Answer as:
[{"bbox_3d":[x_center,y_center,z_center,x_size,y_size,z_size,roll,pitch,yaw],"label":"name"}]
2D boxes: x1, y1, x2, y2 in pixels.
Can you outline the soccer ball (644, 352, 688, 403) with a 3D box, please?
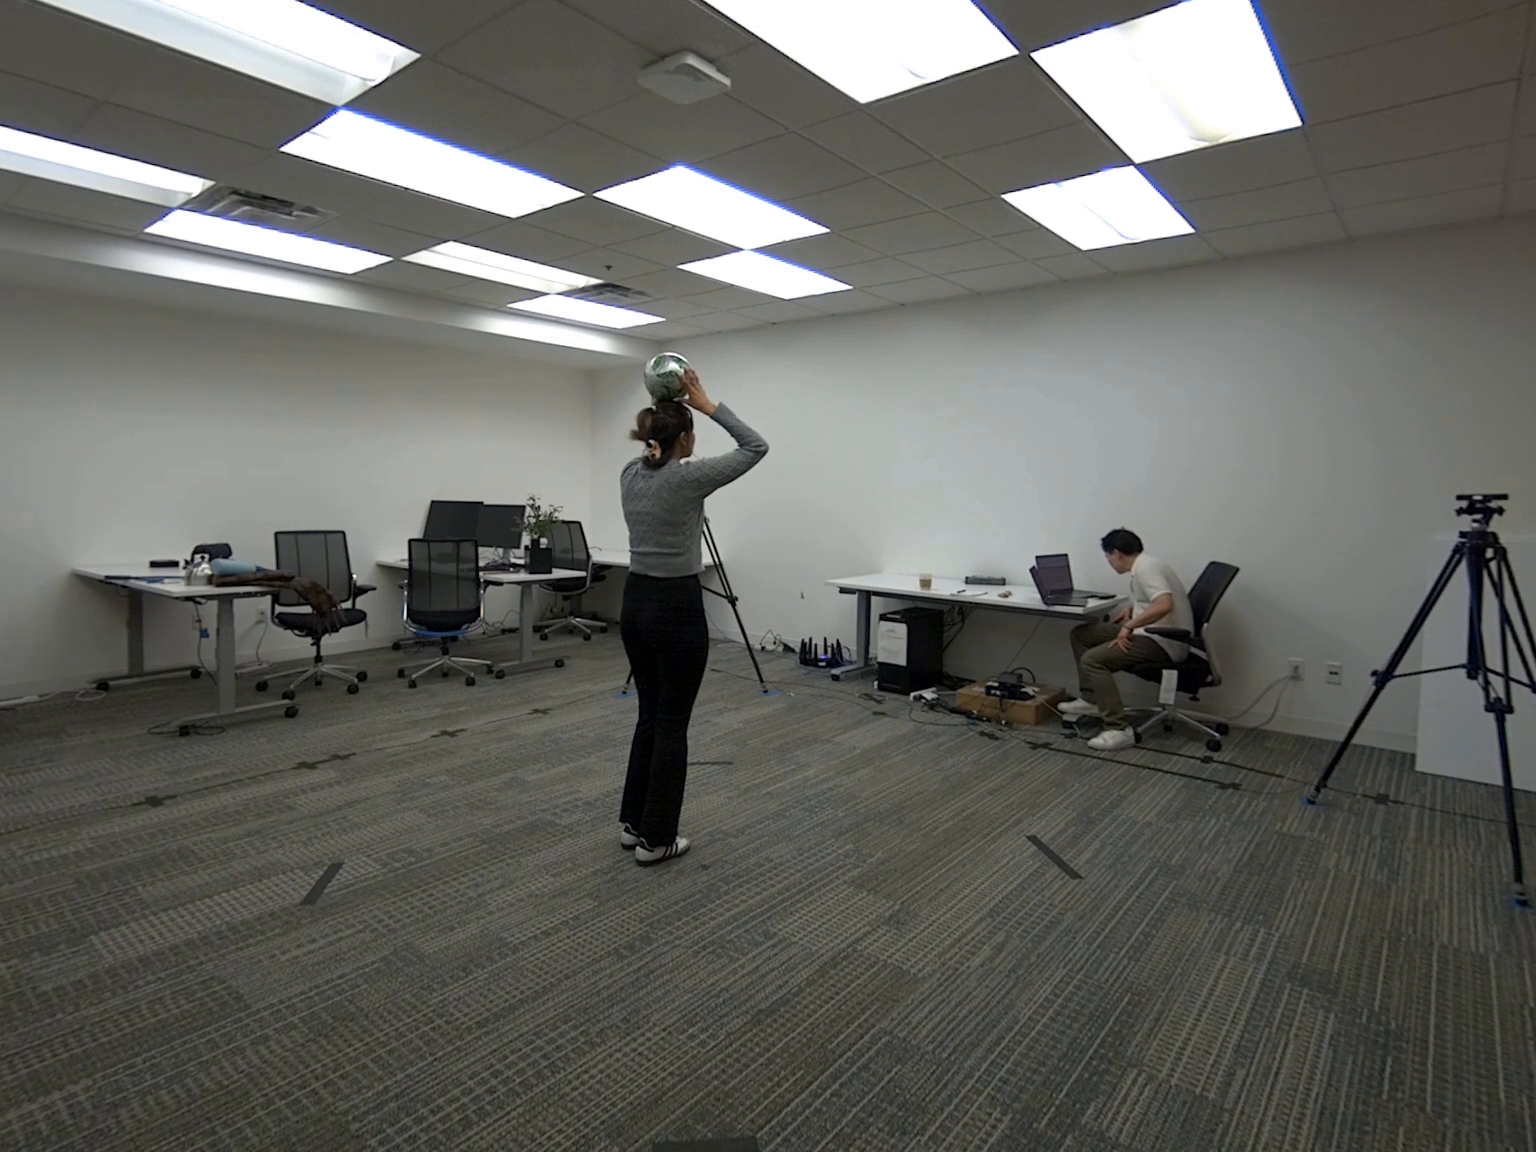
[{"bbox_3d":[-0.387,-0.752,3.216,0.187,0.187,0.188,1,4,-2],"label":"soccer ball"}]
